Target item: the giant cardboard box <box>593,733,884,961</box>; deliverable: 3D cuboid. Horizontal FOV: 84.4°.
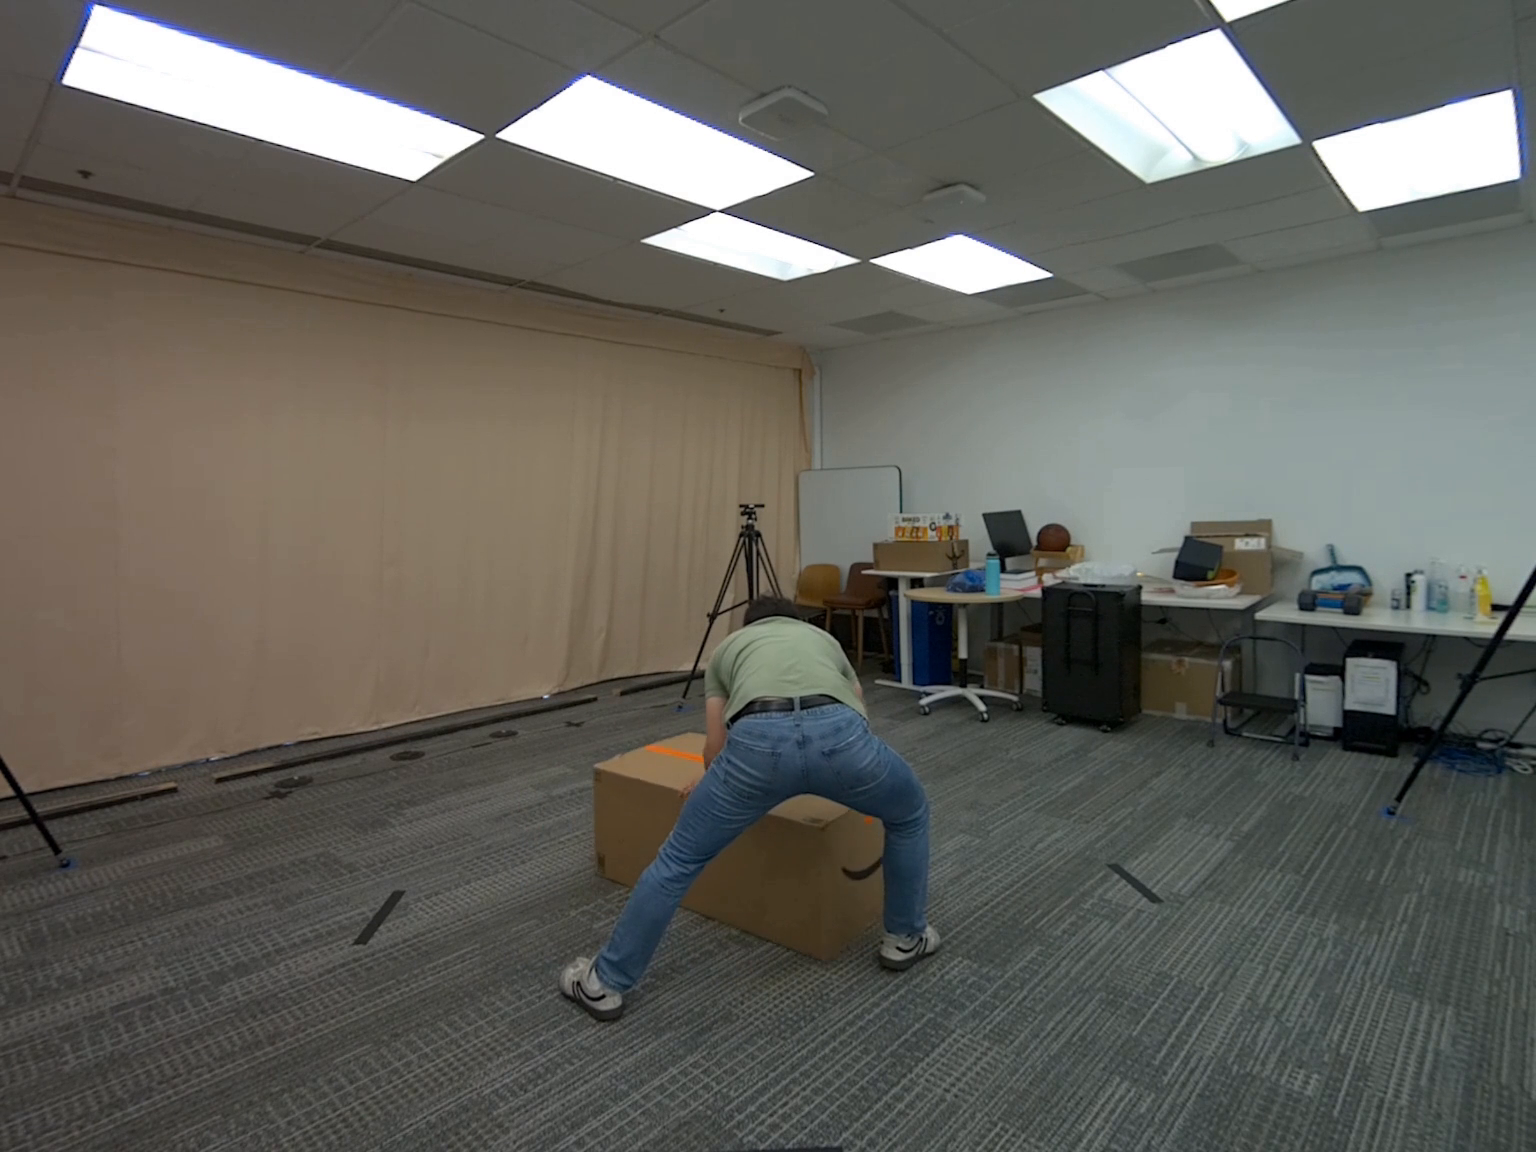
[{"bbox_3d":[-0.076,0.917,3.084,1.059,0.425,0.560,2,5,38],"label":"giant cardboard box"}]
